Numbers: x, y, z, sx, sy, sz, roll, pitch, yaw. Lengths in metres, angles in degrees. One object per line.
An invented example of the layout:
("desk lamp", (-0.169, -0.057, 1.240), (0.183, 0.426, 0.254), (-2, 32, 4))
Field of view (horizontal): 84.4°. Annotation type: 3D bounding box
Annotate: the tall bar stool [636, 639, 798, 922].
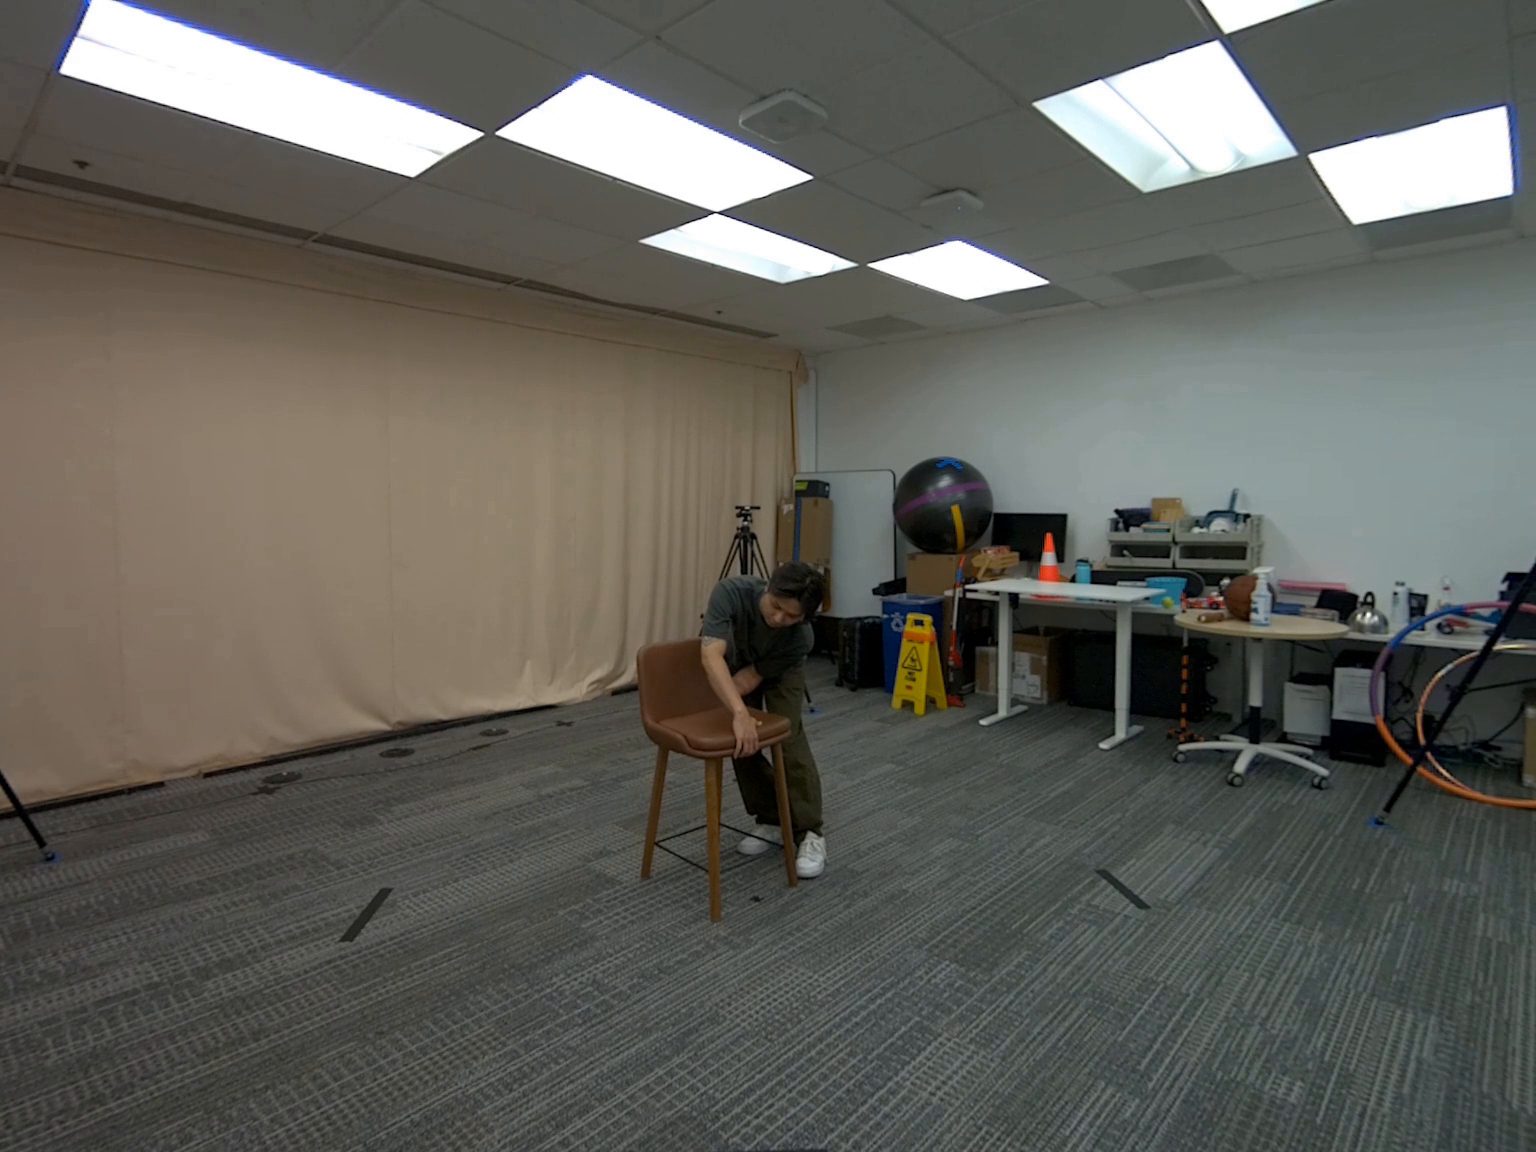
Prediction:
("tall bar stool", (-0.200, 0.702, 3.084), (0.442, 0.888, 0.483), (-3, 3, -42))
